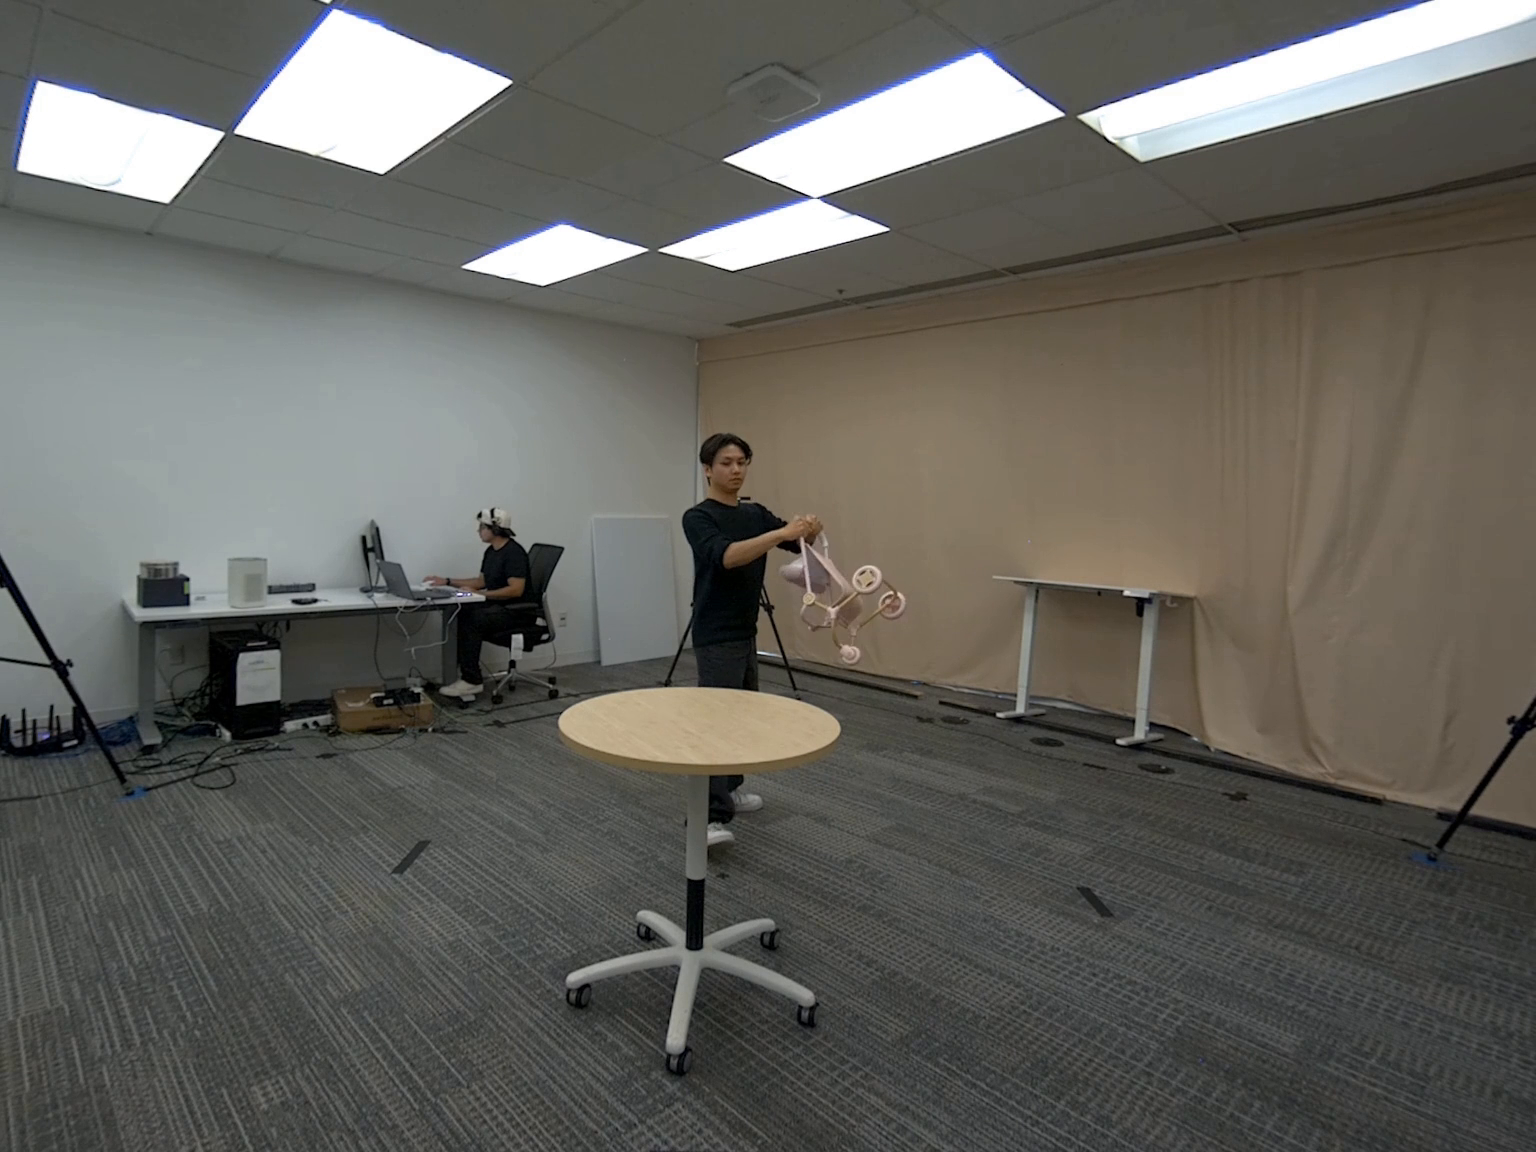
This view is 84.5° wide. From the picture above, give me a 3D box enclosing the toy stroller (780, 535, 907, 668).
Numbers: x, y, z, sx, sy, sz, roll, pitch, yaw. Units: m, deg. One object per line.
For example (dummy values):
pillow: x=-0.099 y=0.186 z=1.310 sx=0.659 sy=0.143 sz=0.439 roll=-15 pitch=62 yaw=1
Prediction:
toy stroller: x=0.232 y=0.057 z=3.165 sx=0.552 sy=0.341 sz=0.273 roll=40 pitch=5 yaw=39
